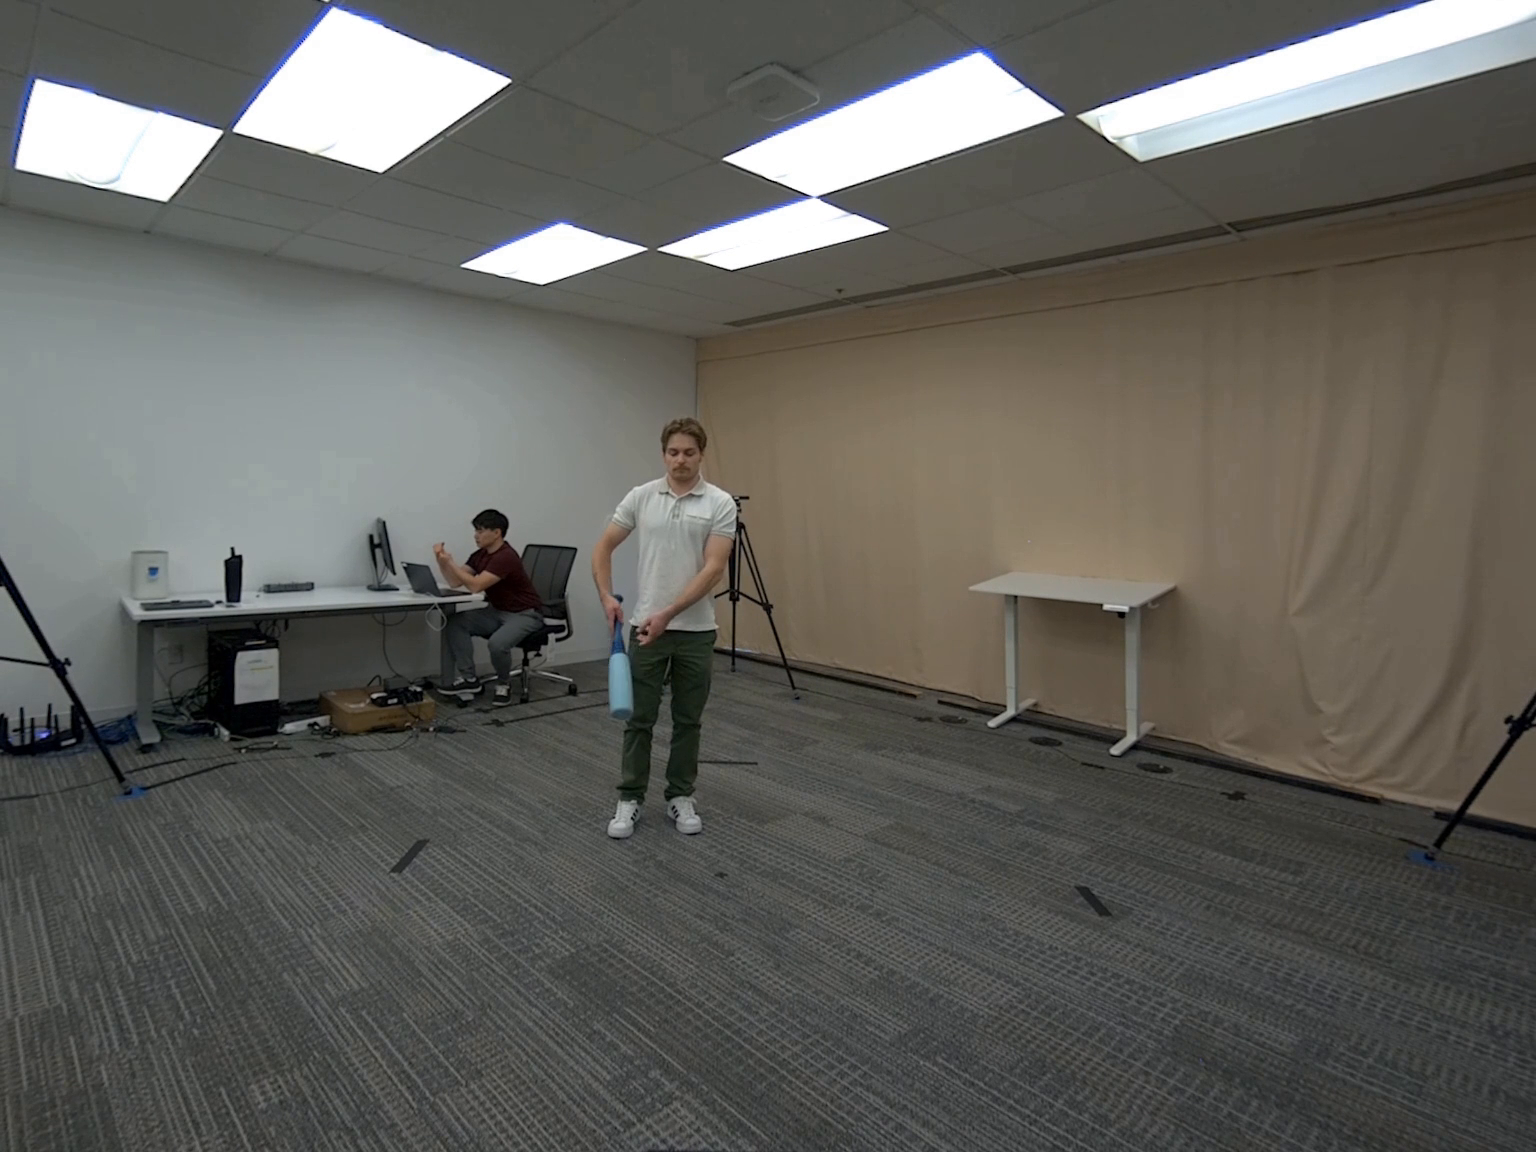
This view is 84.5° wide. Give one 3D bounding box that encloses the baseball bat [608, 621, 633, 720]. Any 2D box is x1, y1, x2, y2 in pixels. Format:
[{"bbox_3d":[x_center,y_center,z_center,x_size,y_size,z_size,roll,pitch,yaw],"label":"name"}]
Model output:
[{"bbox_3d":[-0.592,0.304,3.270,0.089,0.557,0.087,-5,-40,-6],"label":"baseball bat"}]
